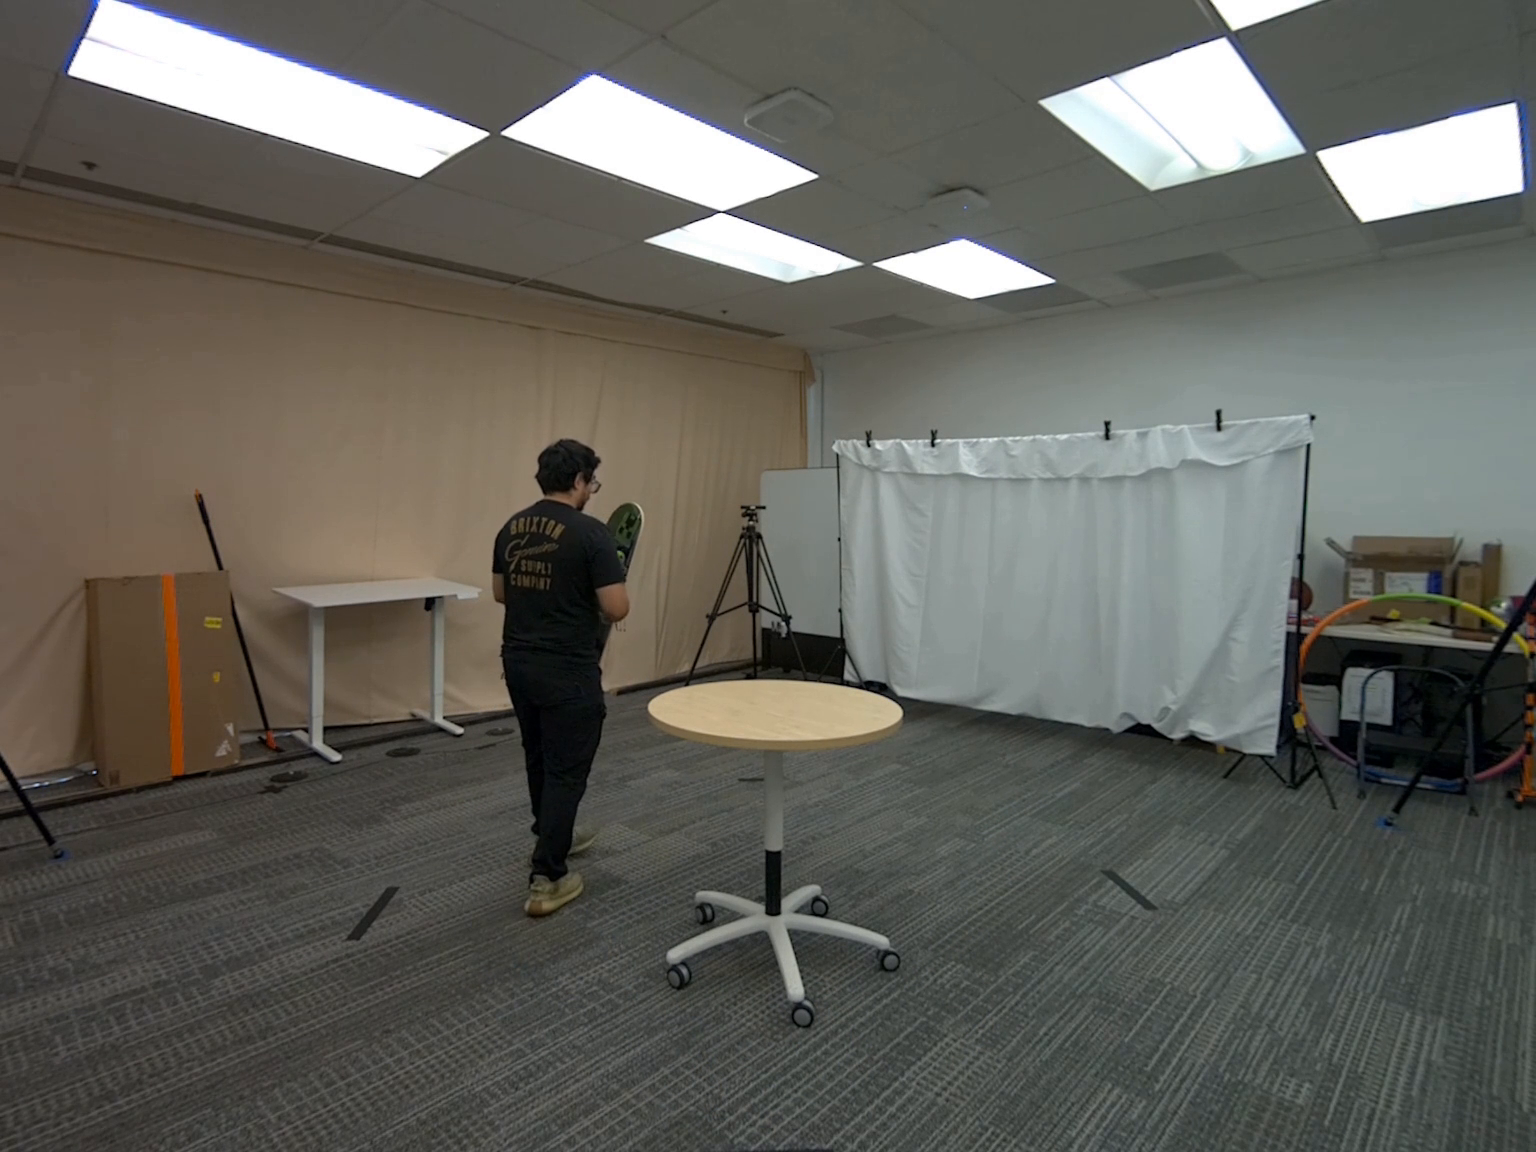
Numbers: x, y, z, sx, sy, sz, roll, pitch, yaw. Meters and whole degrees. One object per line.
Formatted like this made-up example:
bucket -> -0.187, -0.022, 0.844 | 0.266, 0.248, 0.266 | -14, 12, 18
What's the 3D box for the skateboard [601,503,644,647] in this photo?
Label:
skateboard -> -0.661, 0.086, 3.268 | 0.200, 0.783, 0.107 | 28, 14, 39
